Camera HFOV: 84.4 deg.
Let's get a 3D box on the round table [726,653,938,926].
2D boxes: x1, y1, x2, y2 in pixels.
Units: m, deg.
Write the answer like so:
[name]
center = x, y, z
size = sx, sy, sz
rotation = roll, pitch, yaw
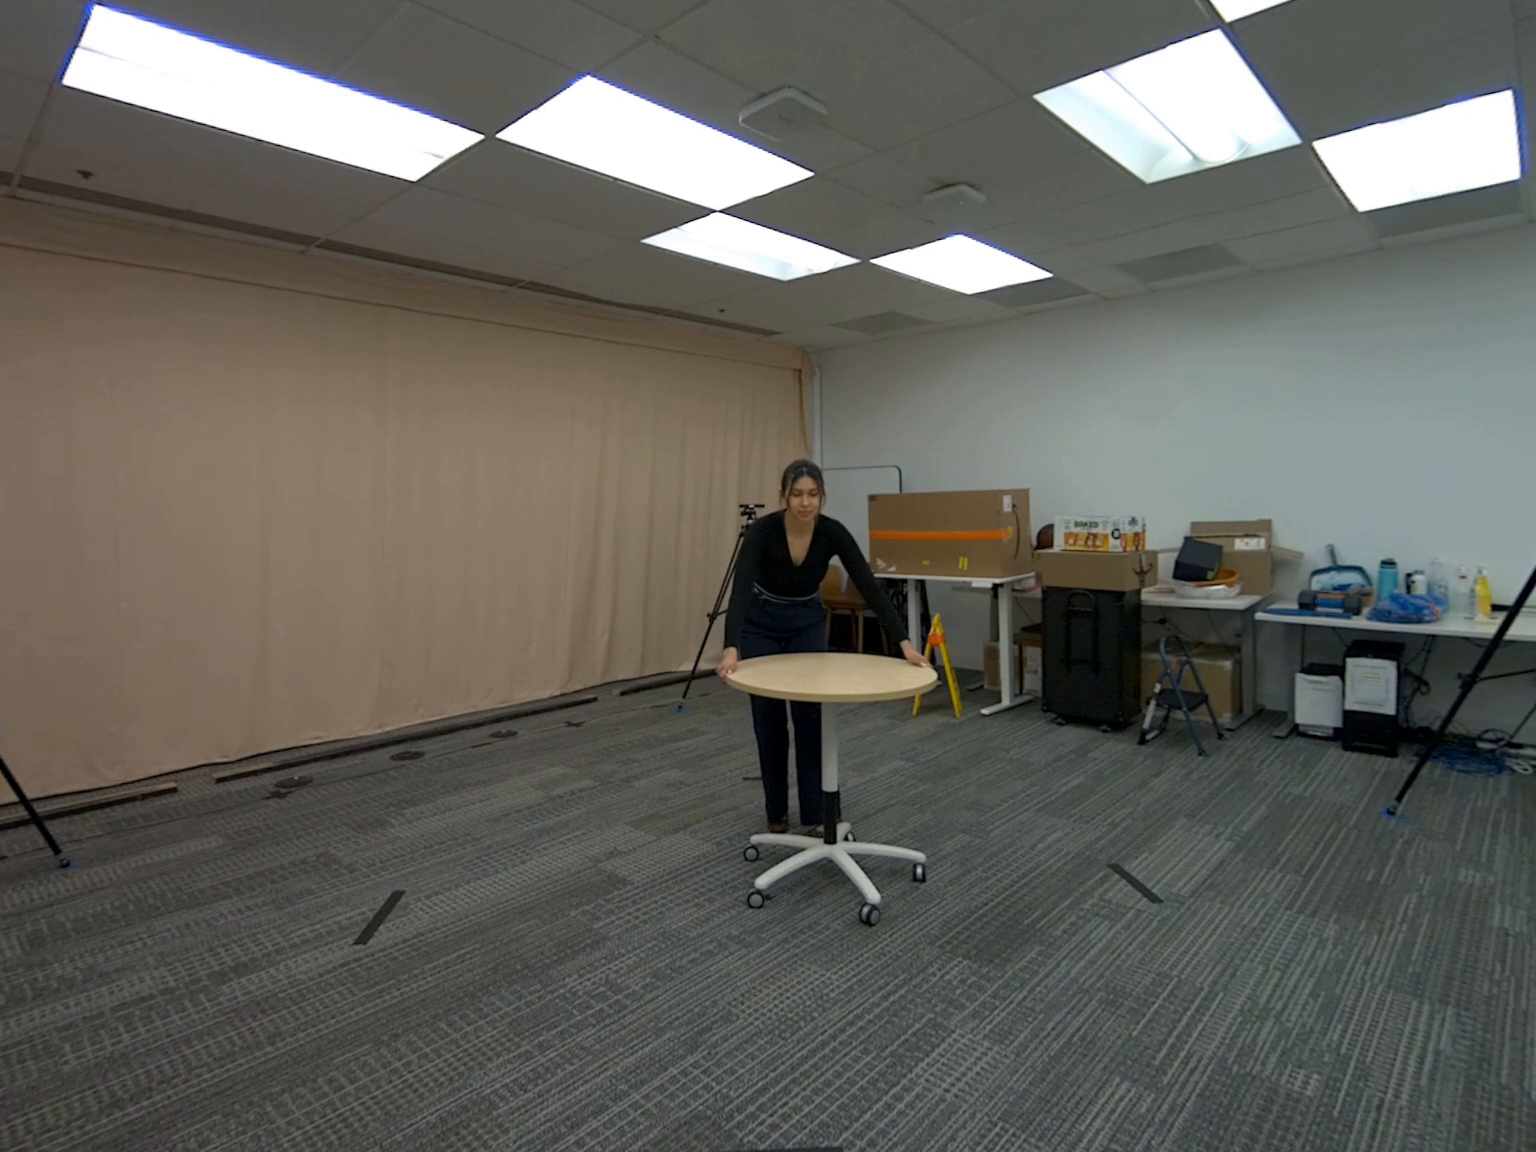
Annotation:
[round table]
center = 0.228, 0.737, 3.090
size = 0.763, 0.792, 0.766
rotation = -1, 3, -2
